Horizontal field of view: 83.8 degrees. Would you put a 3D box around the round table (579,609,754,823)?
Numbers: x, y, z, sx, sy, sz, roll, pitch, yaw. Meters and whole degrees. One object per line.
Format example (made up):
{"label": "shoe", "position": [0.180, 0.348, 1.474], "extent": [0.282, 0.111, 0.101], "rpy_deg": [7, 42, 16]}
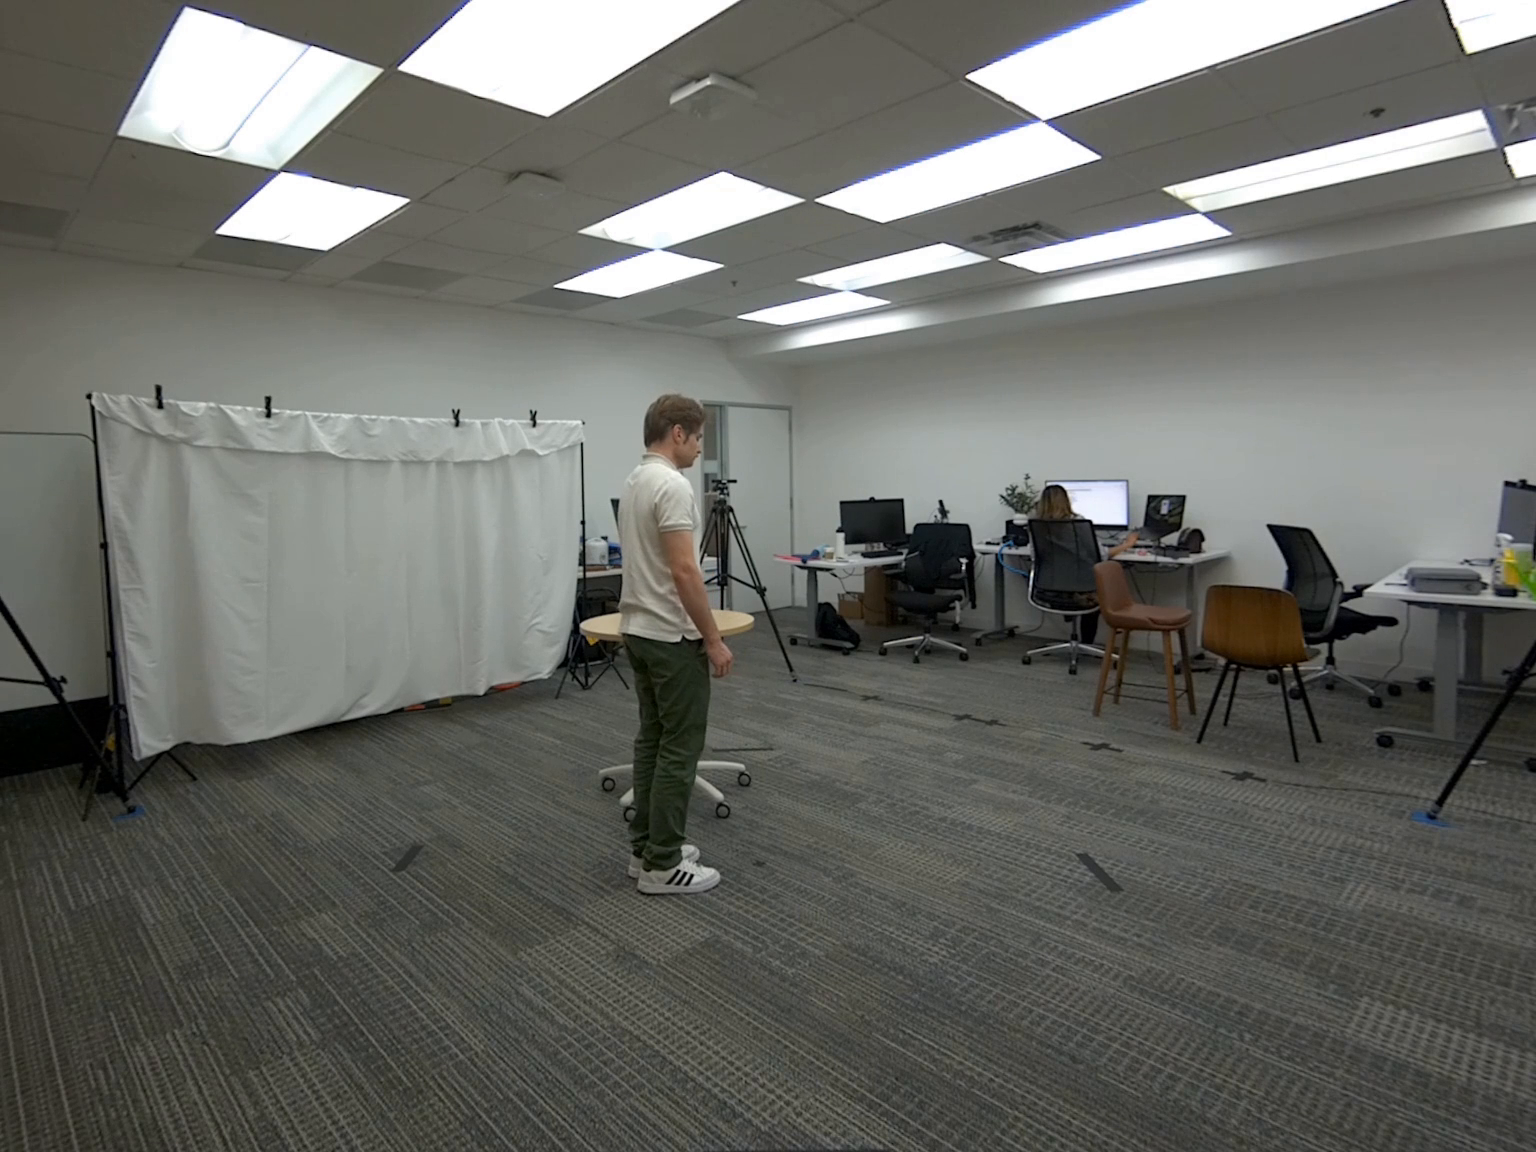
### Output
{"label": "round table", "position": [-0.433, 0.593, 3.791], "extent": [0.763, 0.791, 0.767], "rpy_deg": [-2, 4, -2]}
